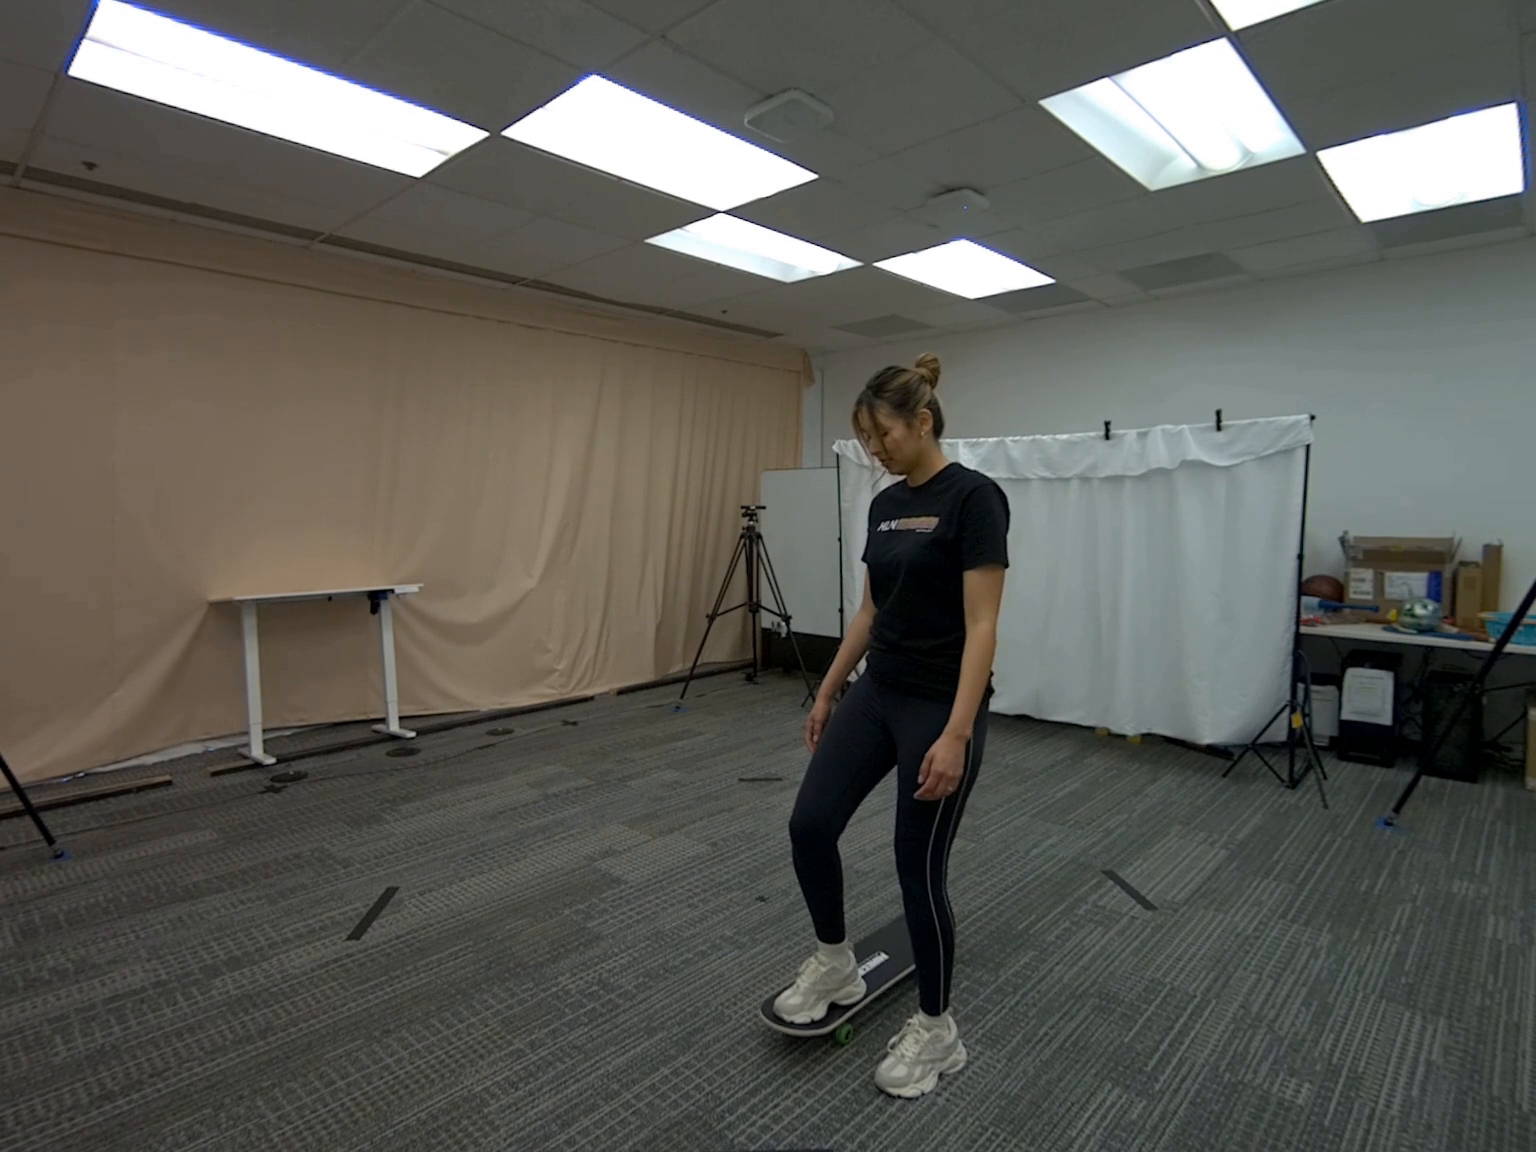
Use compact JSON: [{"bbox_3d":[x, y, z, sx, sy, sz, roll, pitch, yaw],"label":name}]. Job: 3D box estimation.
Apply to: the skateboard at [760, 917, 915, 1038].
[{"bbox_3d":[0.280,1.146,2.365,0.200,0.110,0.762,5,8,44],"label":"skateboard"}]
